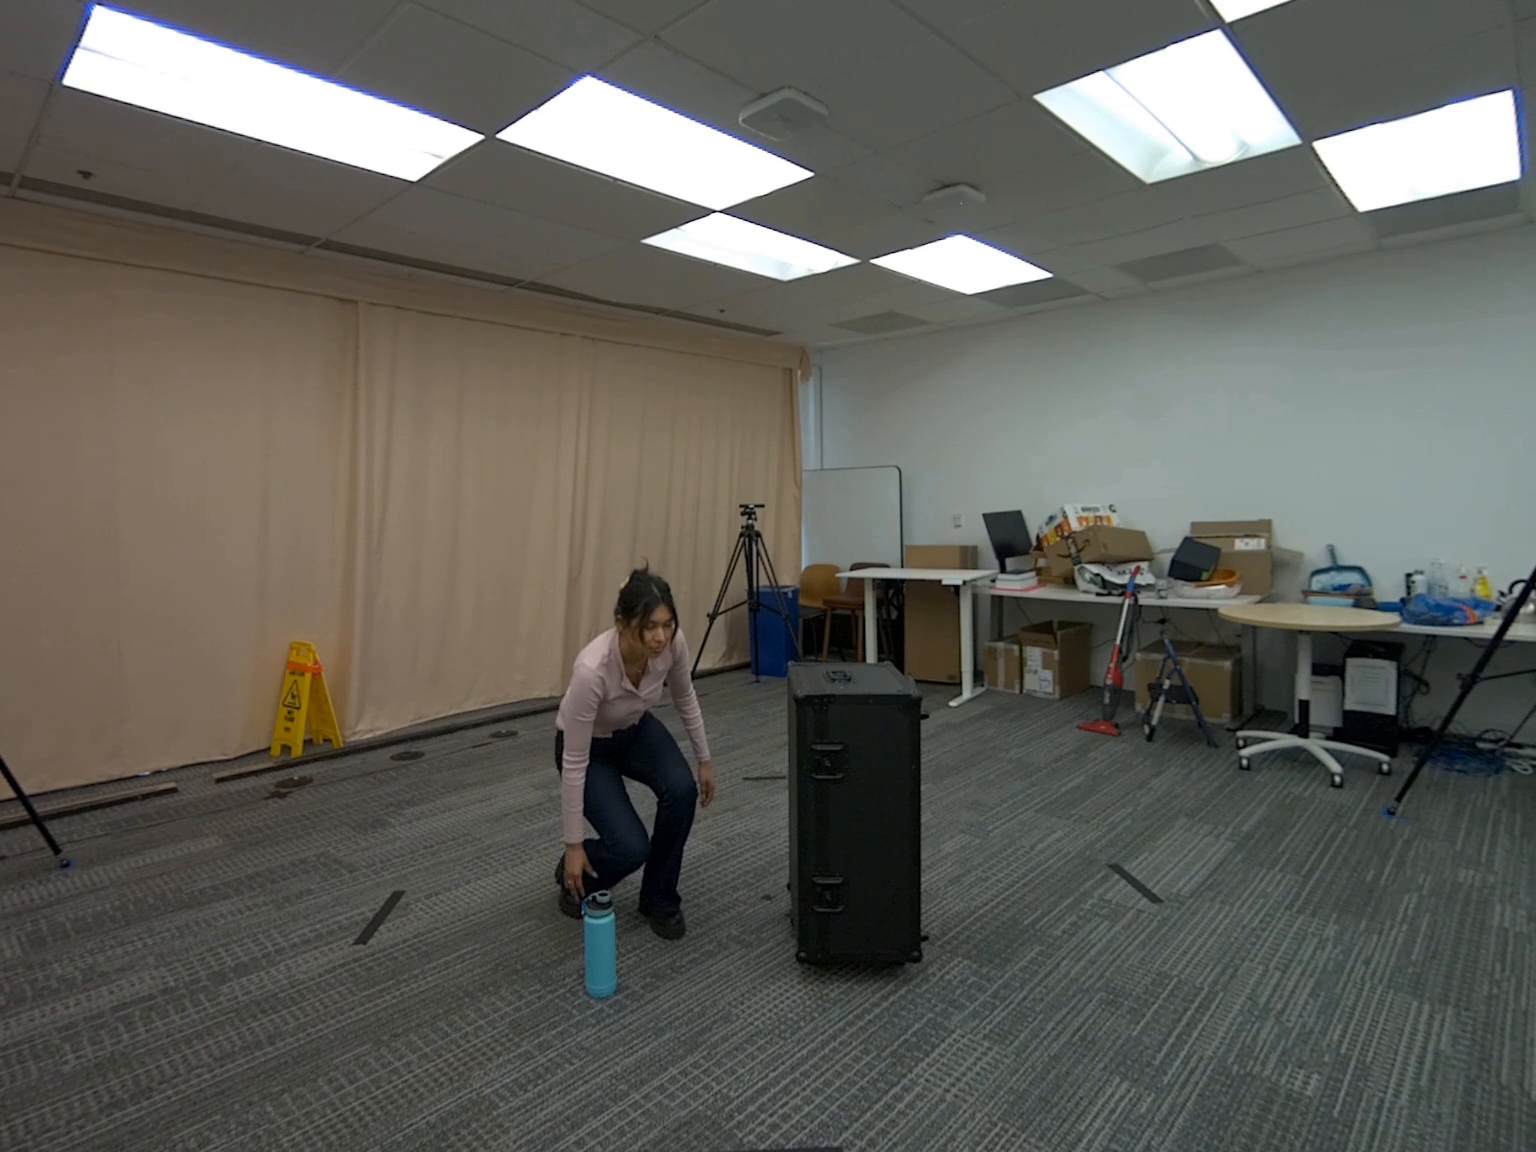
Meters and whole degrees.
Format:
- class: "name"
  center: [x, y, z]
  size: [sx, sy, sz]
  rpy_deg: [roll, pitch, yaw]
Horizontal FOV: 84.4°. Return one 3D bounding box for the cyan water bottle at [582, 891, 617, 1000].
- class: "cyan water bottle"
  center: [-0.485, 1.053, 2.441]
  size: [0.092, 0.283, 0.092]
  rpy_deg: [-1, 2, -2]
